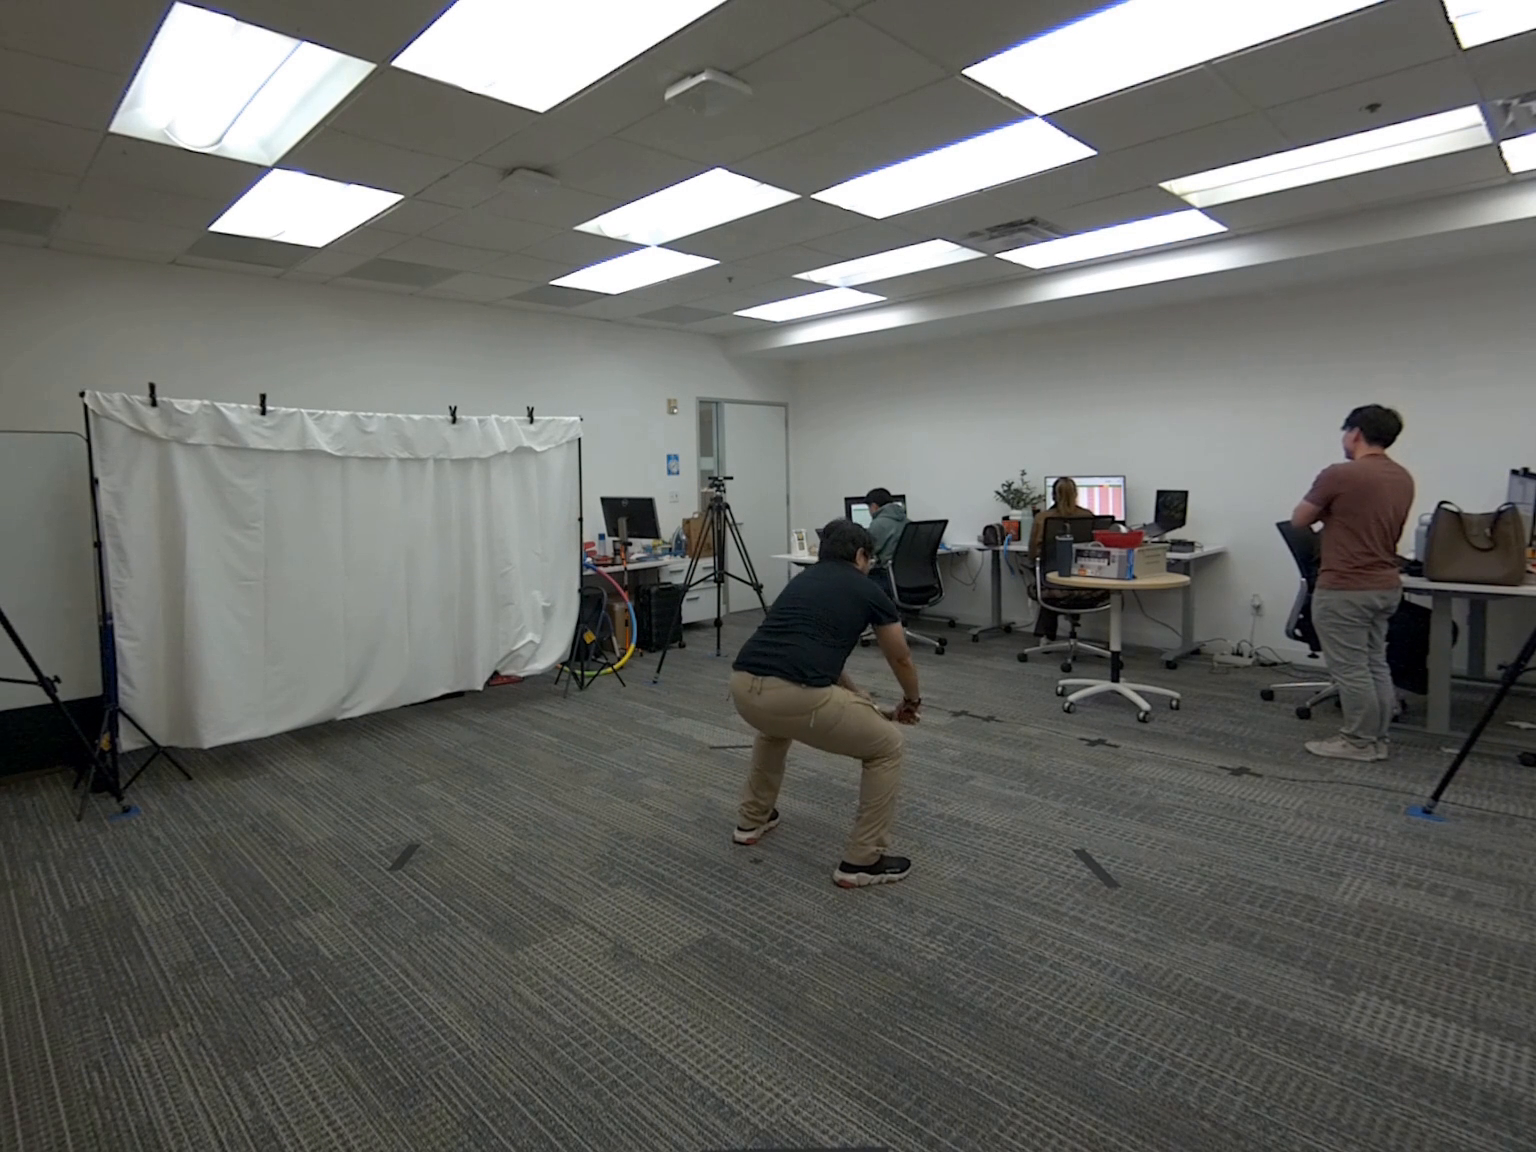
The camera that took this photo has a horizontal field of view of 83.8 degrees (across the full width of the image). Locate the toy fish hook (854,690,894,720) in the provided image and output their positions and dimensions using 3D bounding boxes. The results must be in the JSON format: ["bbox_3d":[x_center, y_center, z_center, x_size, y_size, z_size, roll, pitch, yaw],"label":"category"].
[{"bbox_3d":[0.429,0.611,3.567,0.046,0.226,0.521,27,-16,-38],"label":"toy fish hook"}]
